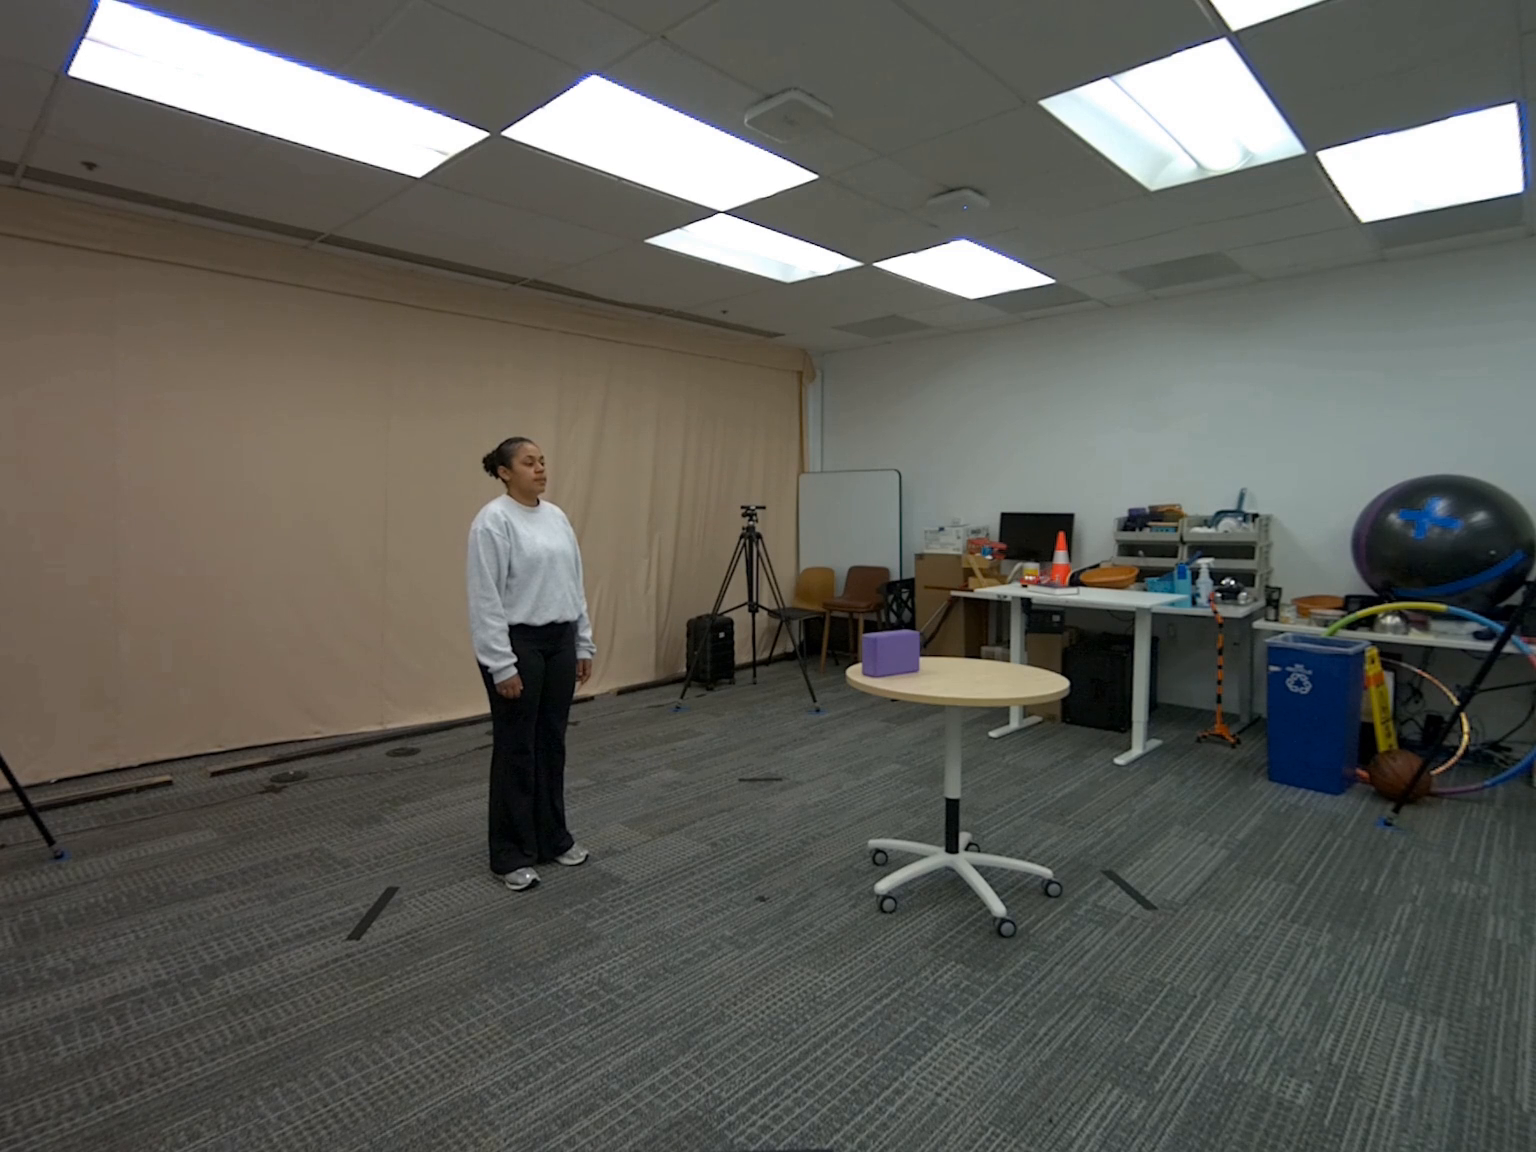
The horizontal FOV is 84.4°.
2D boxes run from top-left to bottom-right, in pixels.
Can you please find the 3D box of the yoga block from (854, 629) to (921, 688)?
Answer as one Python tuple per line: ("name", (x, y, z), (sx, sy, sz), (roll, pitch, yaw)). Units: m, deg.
("yoga block", (0.453, 0.279, 3.042), (0.223, 0.149, 0.079), (-2, 3, -34))
